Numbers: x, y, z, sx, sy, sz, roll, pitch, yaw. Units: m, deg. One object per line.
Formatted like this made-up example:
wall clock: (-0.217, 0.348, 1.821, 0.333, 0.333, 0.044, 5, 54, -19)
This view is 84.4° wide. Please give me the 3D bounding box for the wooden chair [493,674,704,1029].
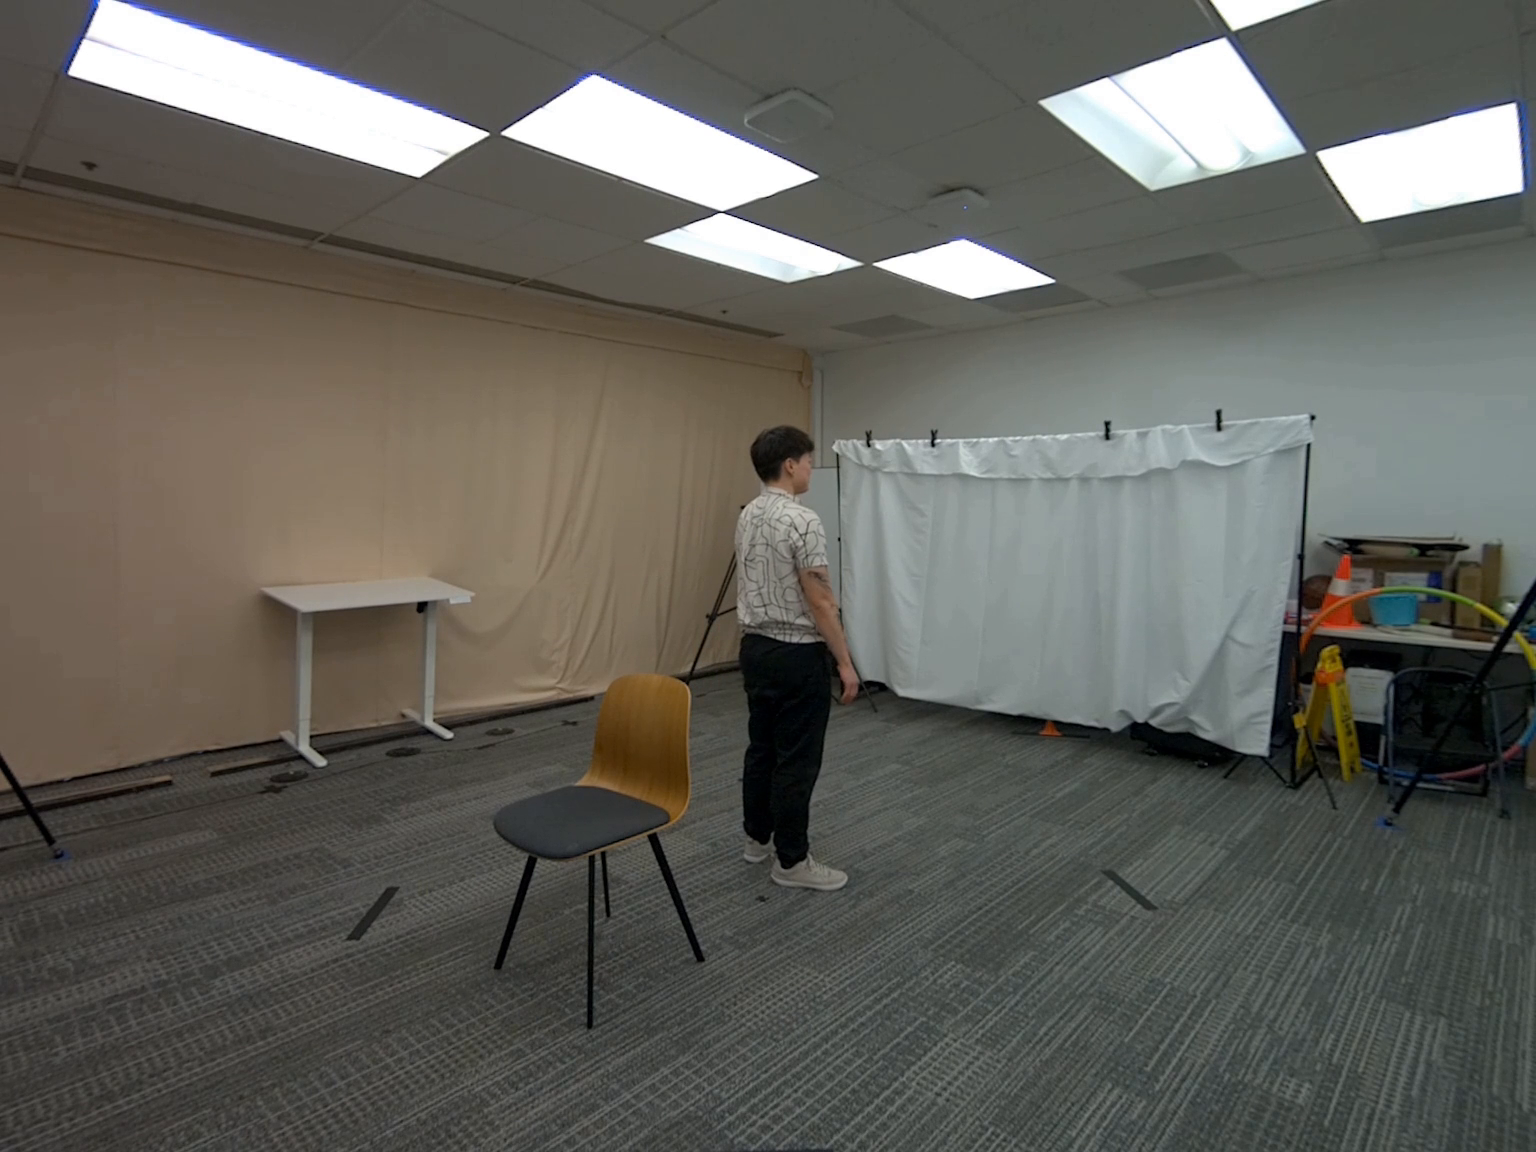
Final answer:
wooden chair: (-0.511, 0.758, 2.521, 0.494, 0.877, 0.506, 3, 0, 40)
